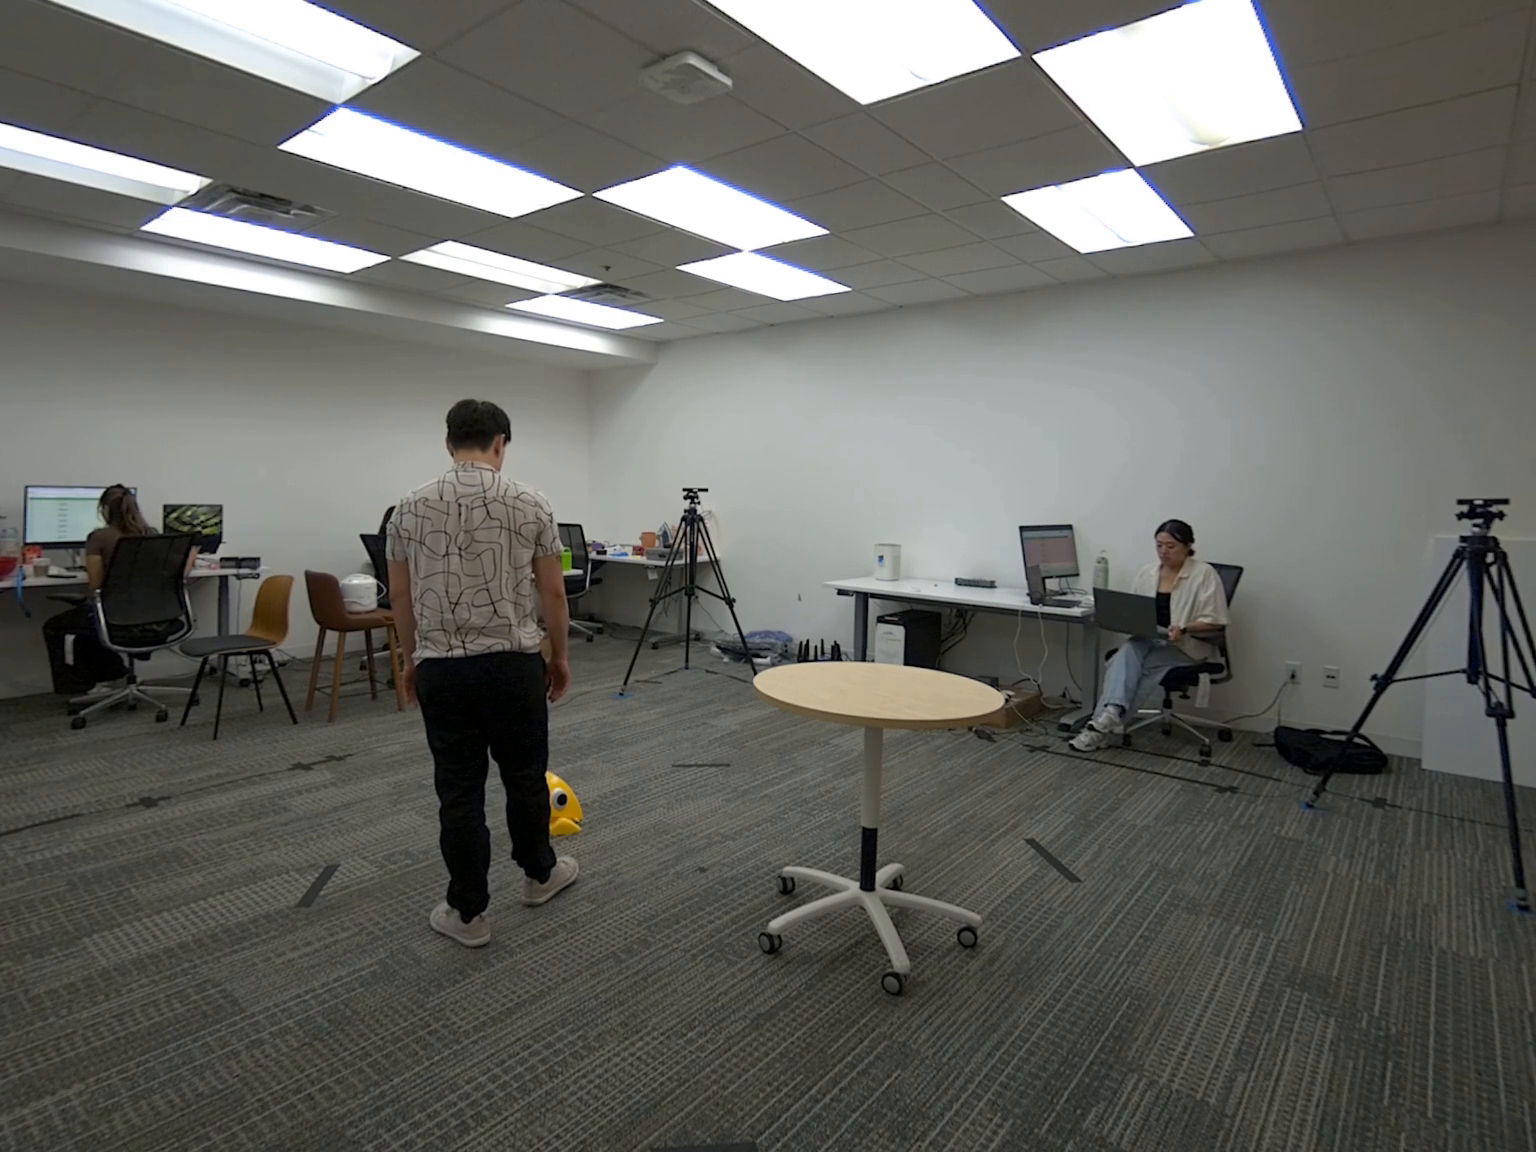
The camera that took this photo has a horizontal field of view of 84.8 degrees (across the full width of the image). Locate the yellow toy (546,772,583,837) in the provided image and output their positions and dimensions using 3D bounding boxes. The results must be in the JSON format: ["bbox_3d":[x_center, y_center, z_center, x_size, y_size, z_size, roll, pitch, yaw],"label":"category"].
[{"bbox_3d":[-0.868,0.911,3.494,0.191,0.230,0.207,-1,3,-9],"label":"yellow toy"}]
